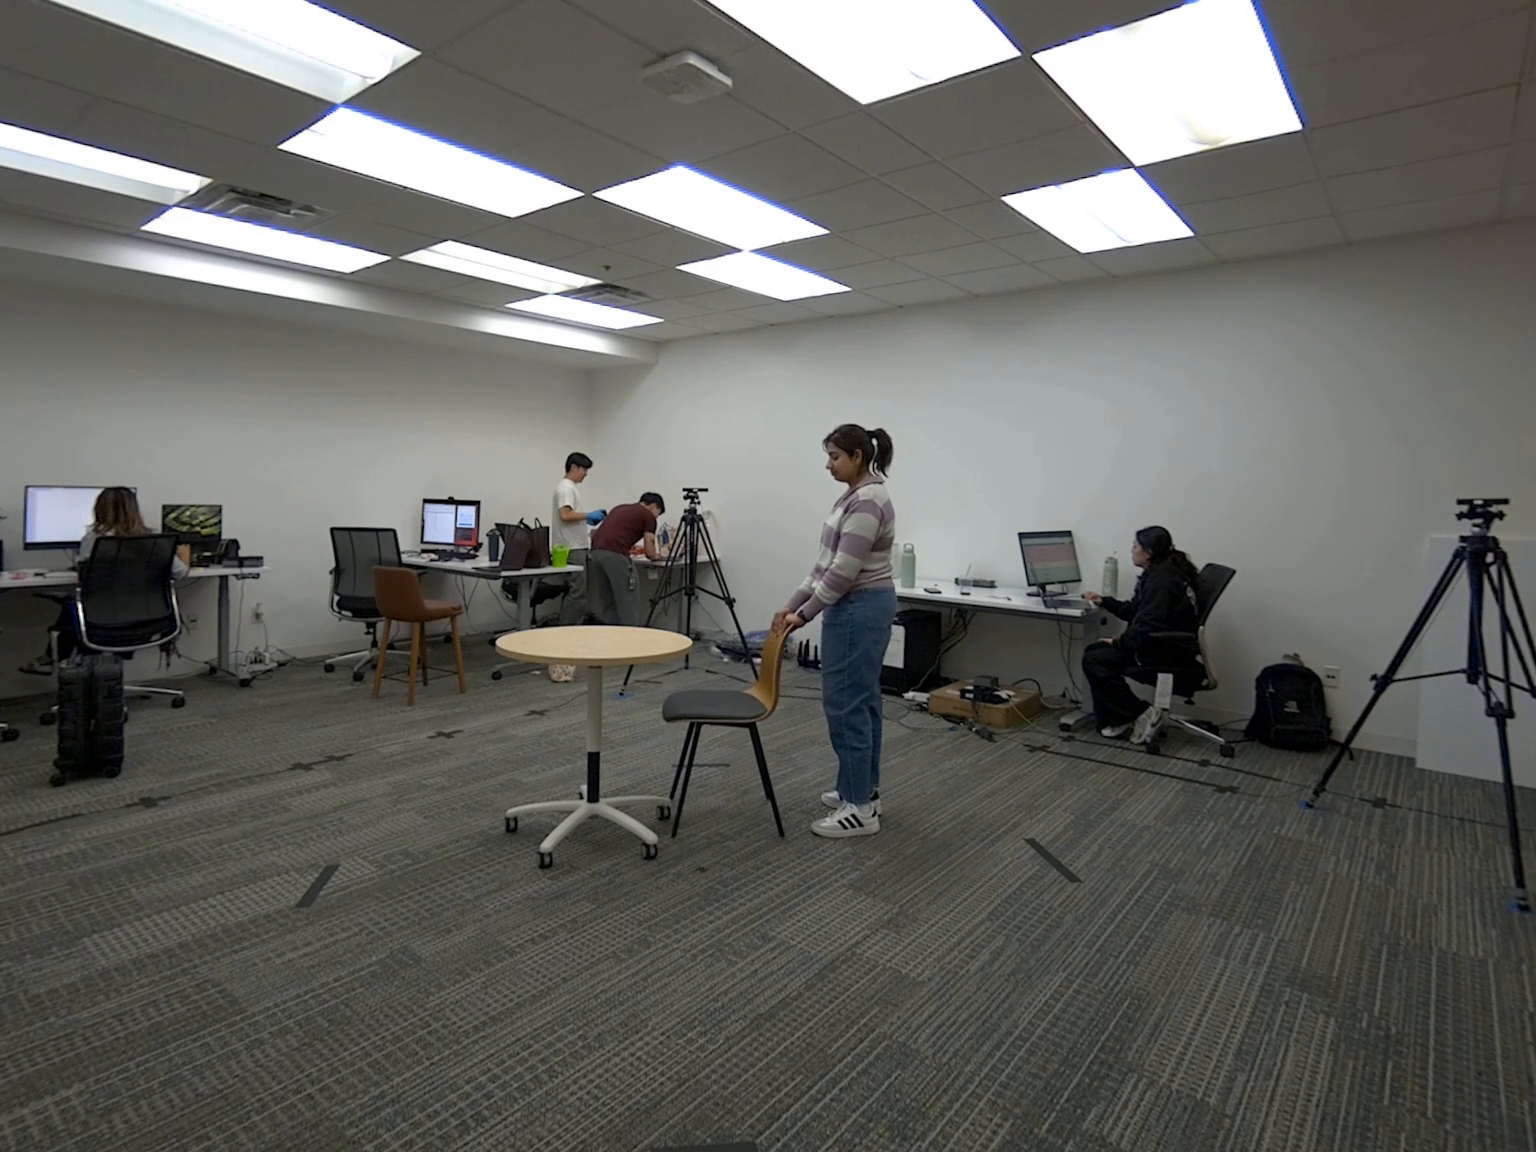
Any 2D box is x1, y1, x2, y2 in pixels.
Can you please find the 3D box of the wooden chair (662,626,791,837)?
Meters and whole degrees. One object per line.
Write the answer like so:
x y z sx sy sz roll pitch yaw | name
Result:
-0.194 0.592 3.587 0.520 0.875 0.482 5 3 -6 | wooden chair
